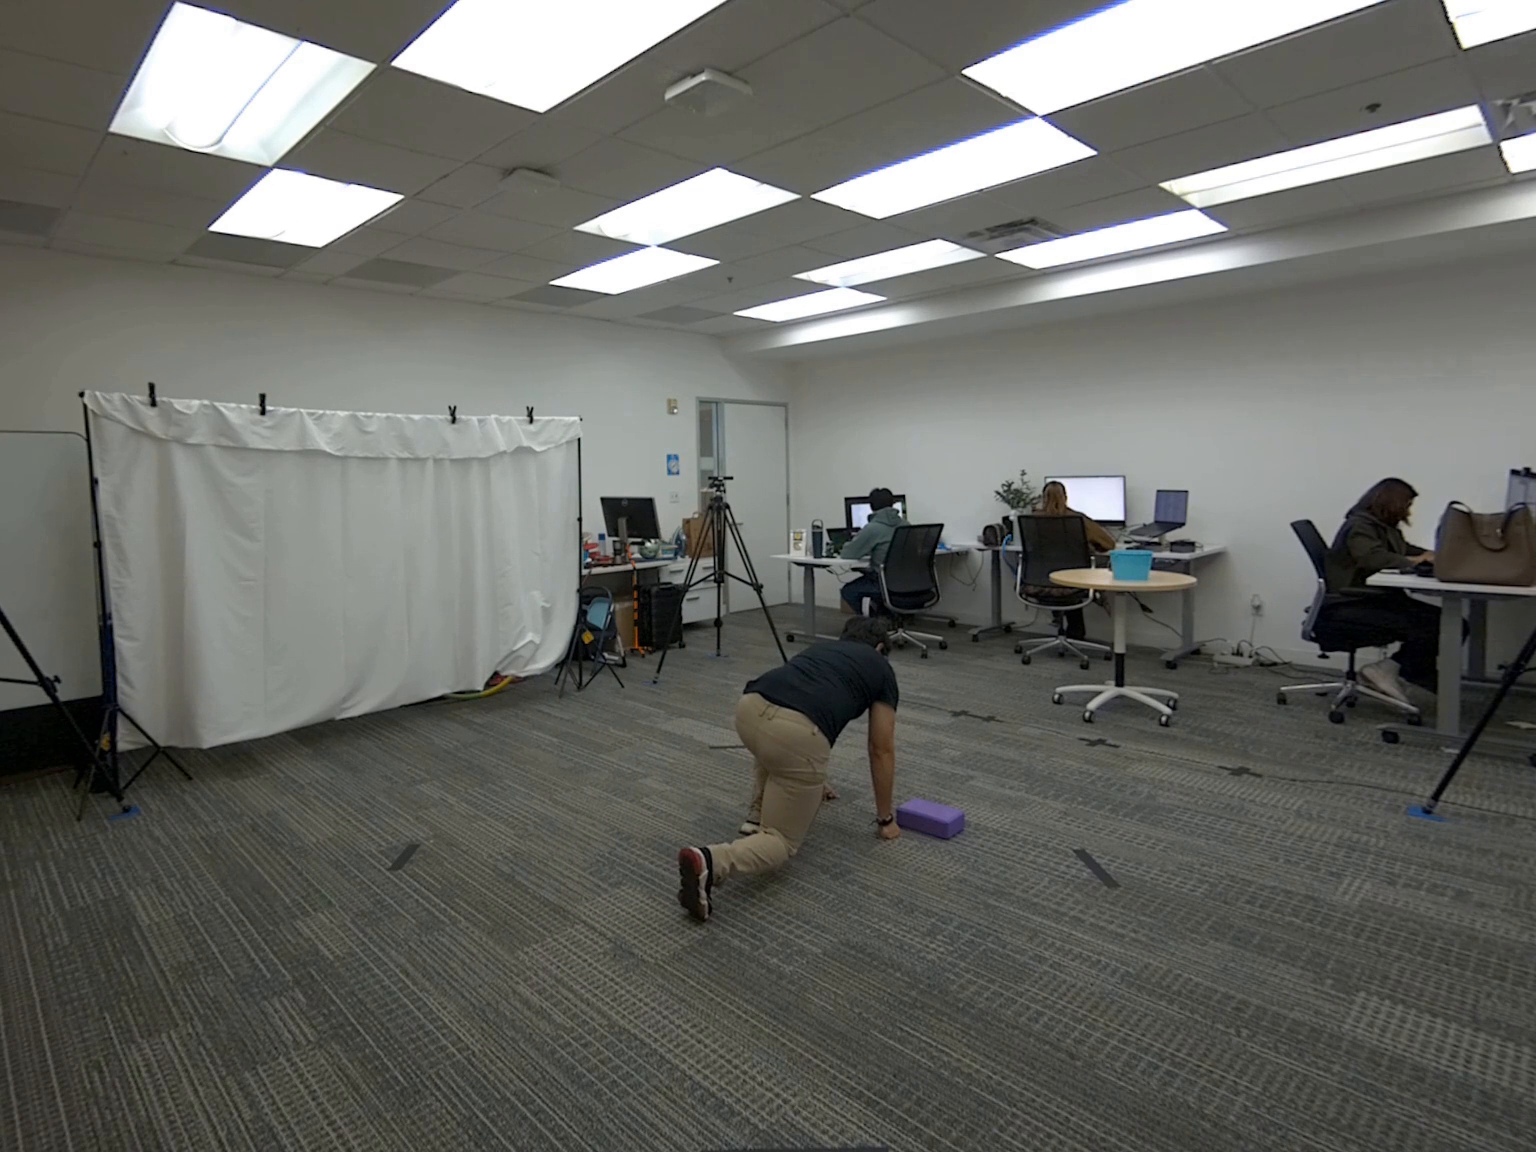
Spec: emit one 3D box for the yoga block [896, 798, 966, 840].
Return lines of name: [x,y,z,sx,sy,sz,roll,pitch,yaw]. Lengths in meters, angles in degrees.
yoga block: [0.636,0.947,3.367,0.236,0.076,0.145,5,8,42]
